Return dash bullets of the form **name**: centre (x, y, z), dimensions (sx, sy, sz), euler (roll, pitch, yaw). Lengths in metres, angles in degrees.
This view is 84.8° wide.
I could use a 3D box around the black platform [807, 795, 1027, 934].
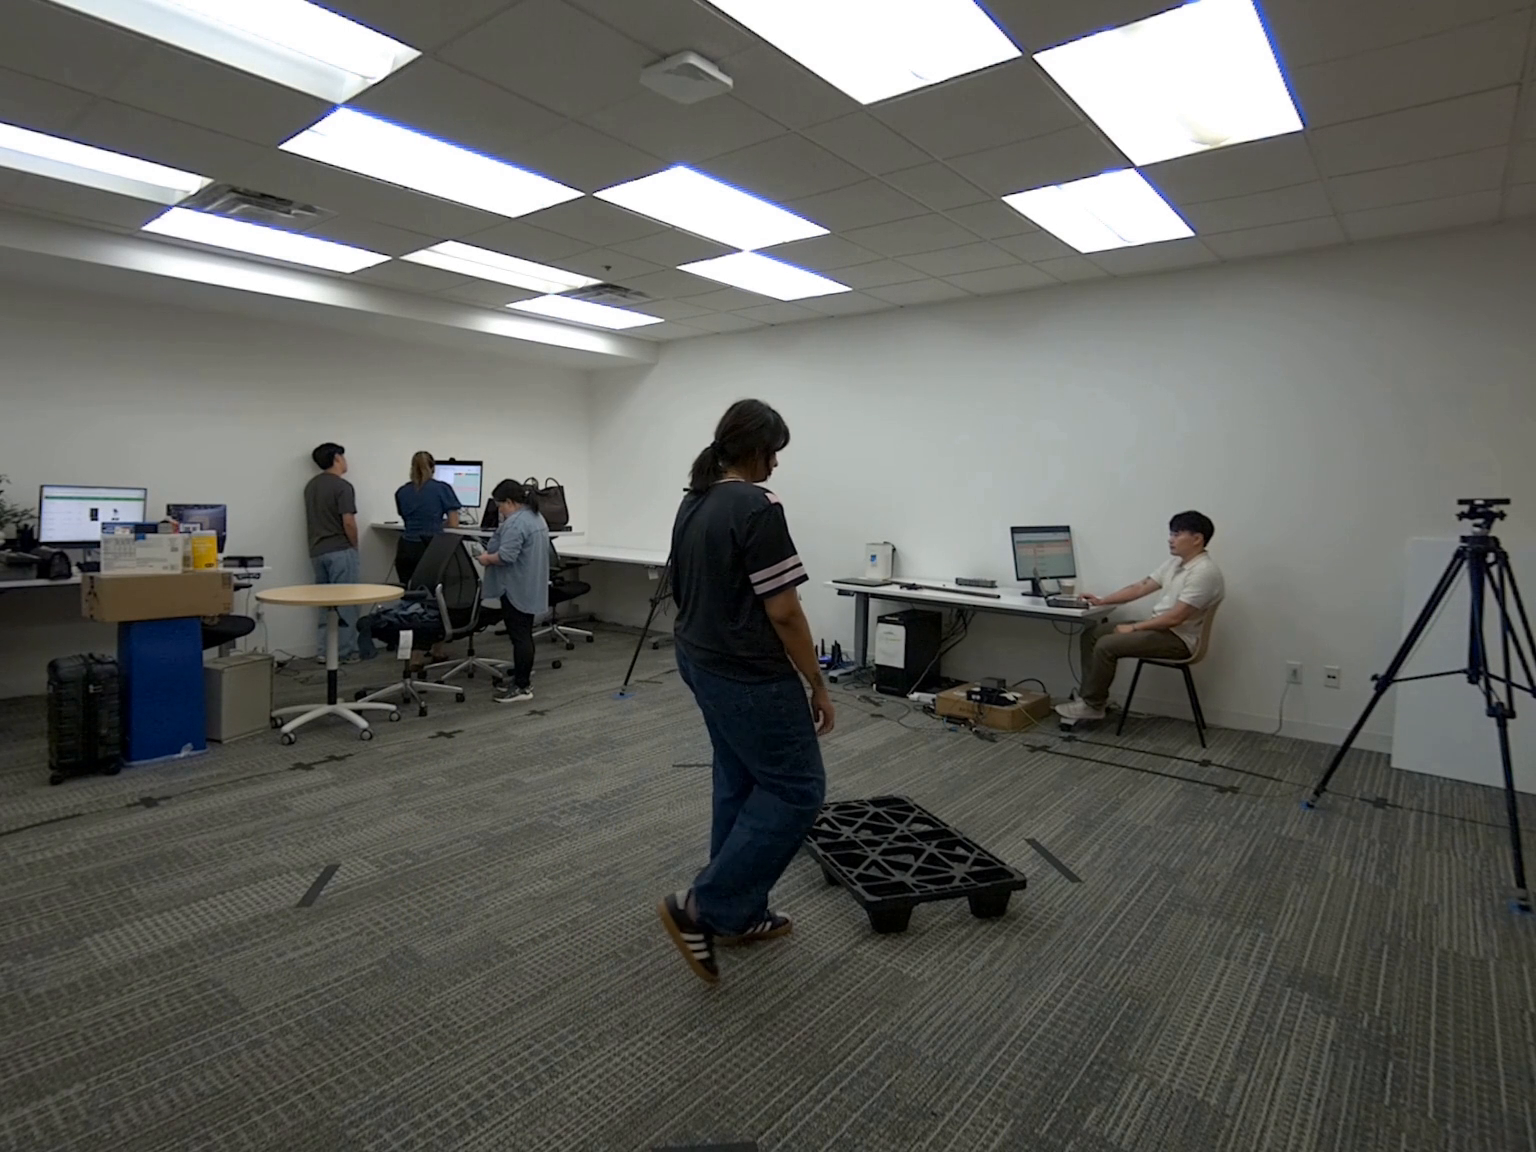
- **black platform**: centre (0.427, 1.019, 3.084), dimensions (0.593, 0.143, 0.825), euler (-1, 6, -20)
